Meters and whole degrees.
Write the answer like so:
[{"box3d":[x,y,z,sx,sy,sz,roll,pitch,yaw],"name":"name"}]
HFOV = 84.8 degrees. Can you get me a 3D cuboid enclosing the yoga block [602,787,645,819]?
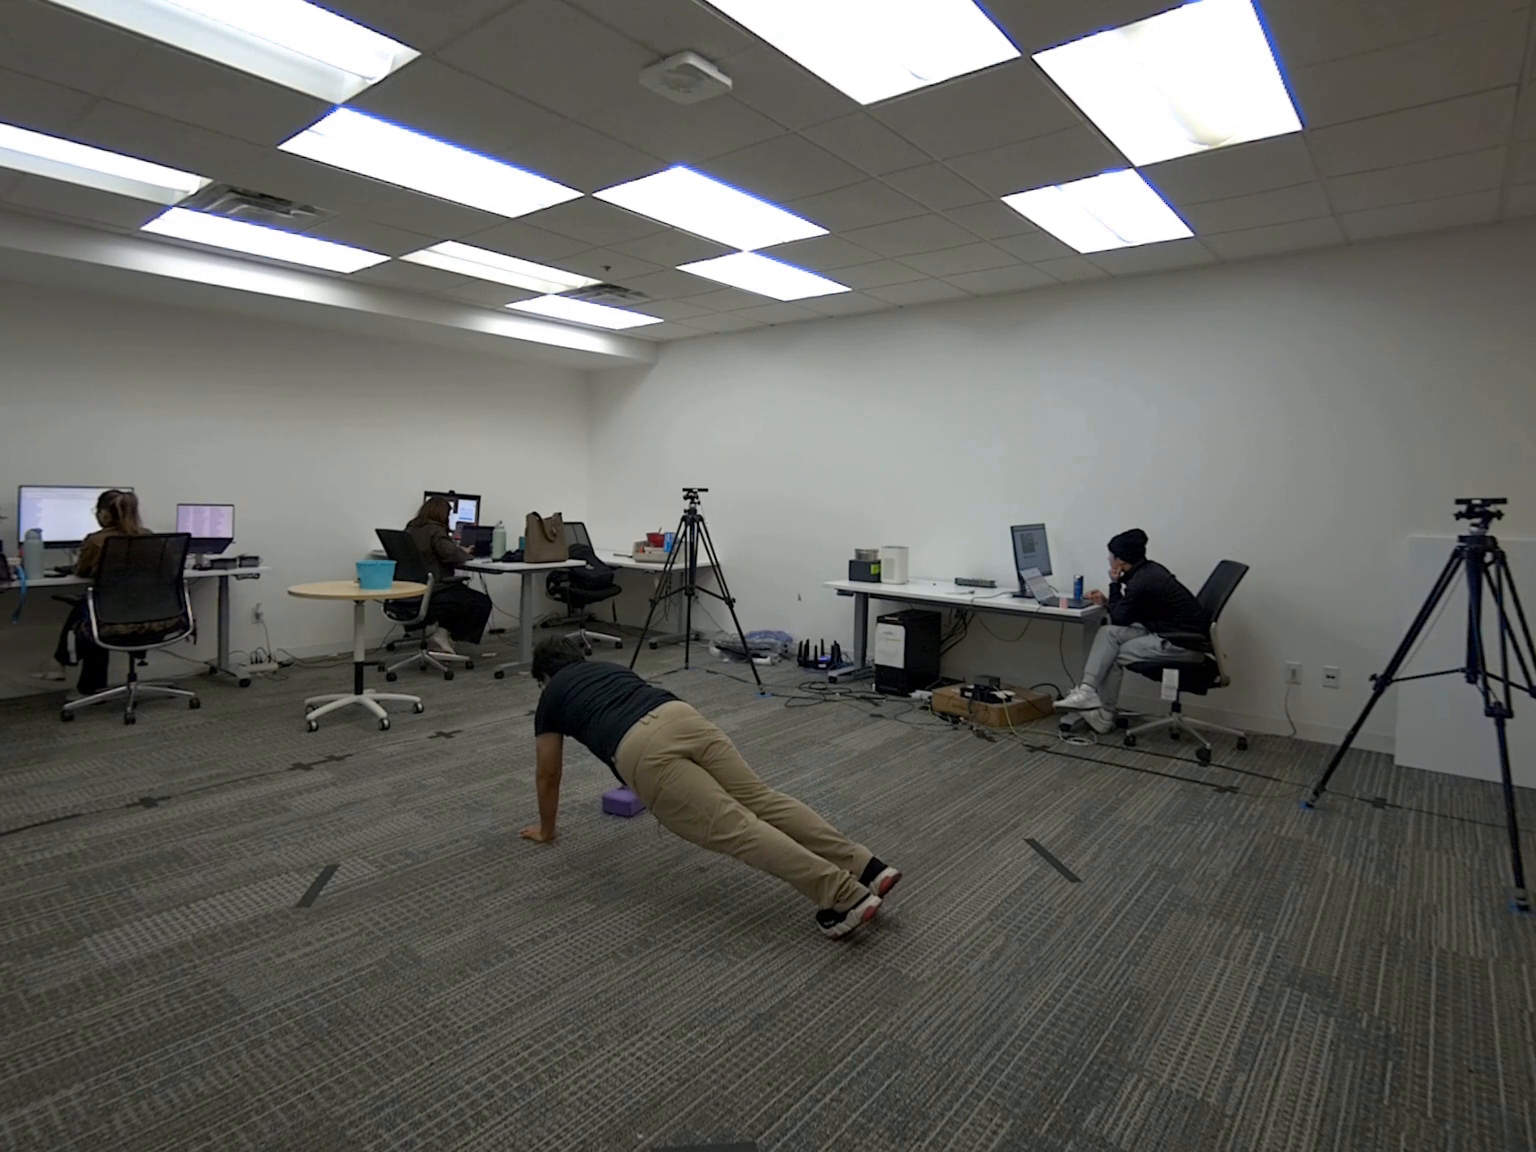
[{"box3d":[-0.614,0.965,3.704,0.153,0.076,0.224,2,5,24],"name":"yoga block"}]
